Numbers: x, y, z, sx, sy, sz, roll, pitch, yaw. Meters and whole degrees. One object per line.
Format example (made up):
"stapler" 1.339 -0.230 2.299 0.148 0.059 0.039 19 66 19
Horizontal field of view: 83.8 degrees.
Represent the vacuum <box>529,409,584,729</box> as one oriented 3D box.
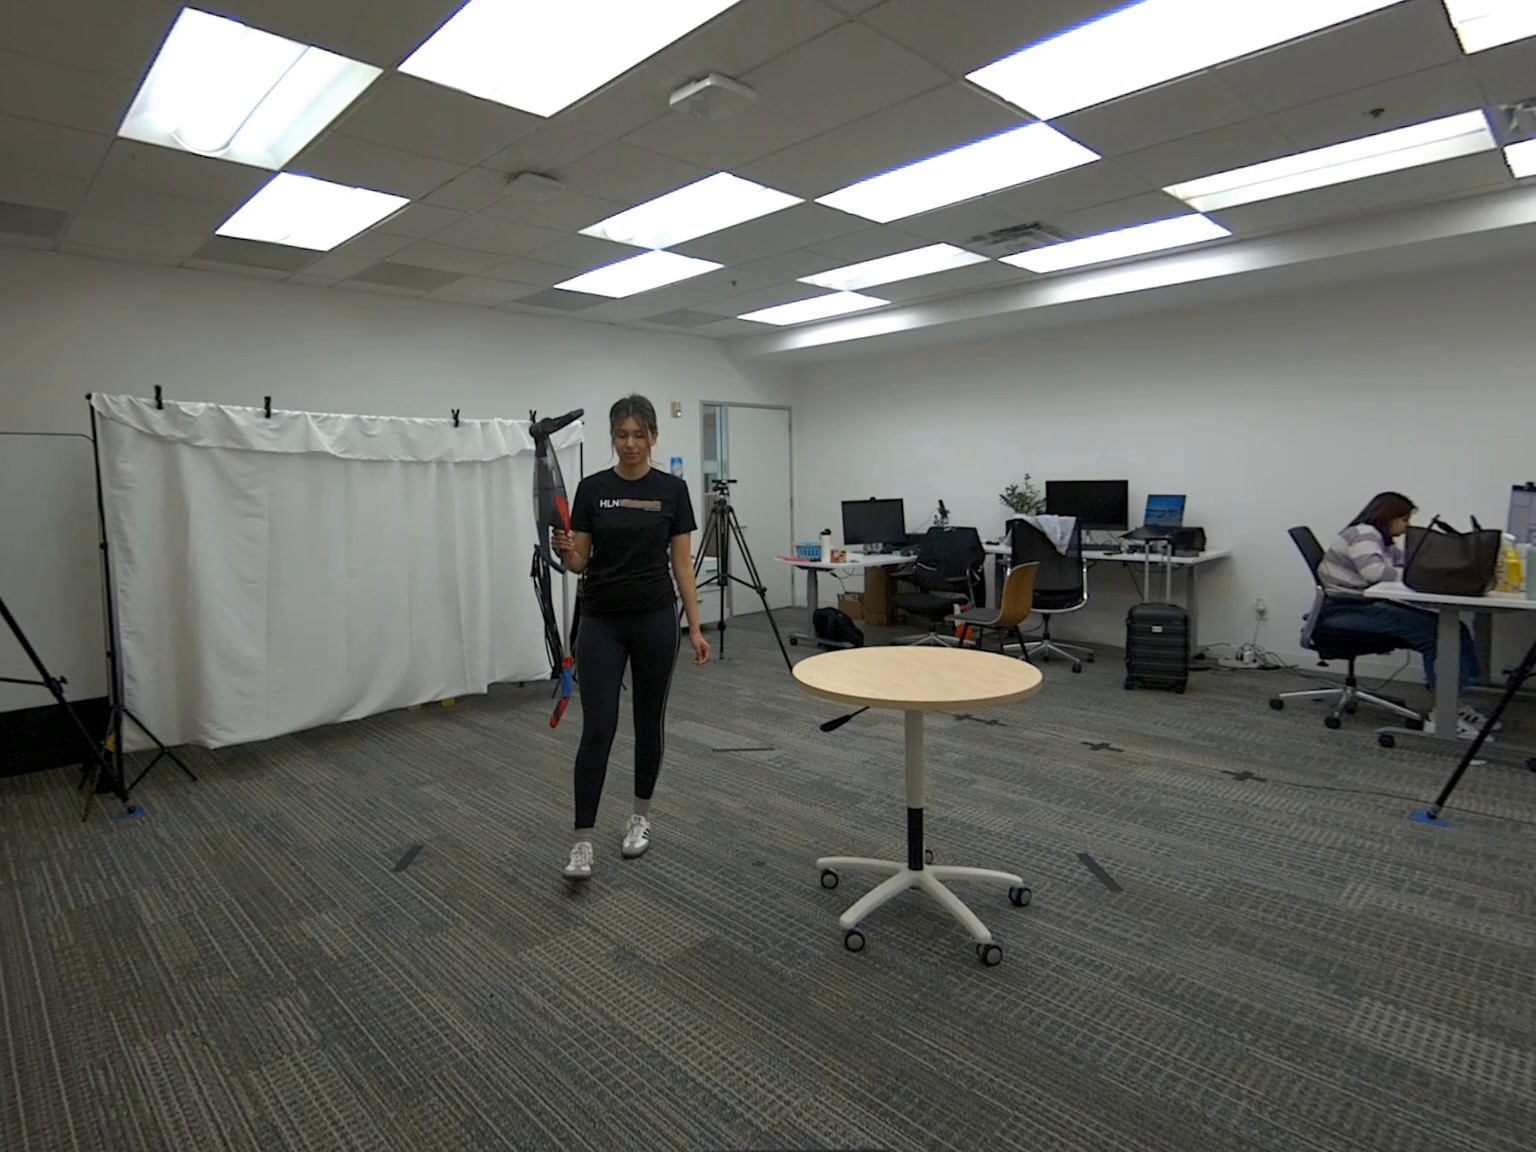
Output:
"vacuum" -0.743 -0.019 2.921 0.140 1.053 0.258 1 -4 -30
